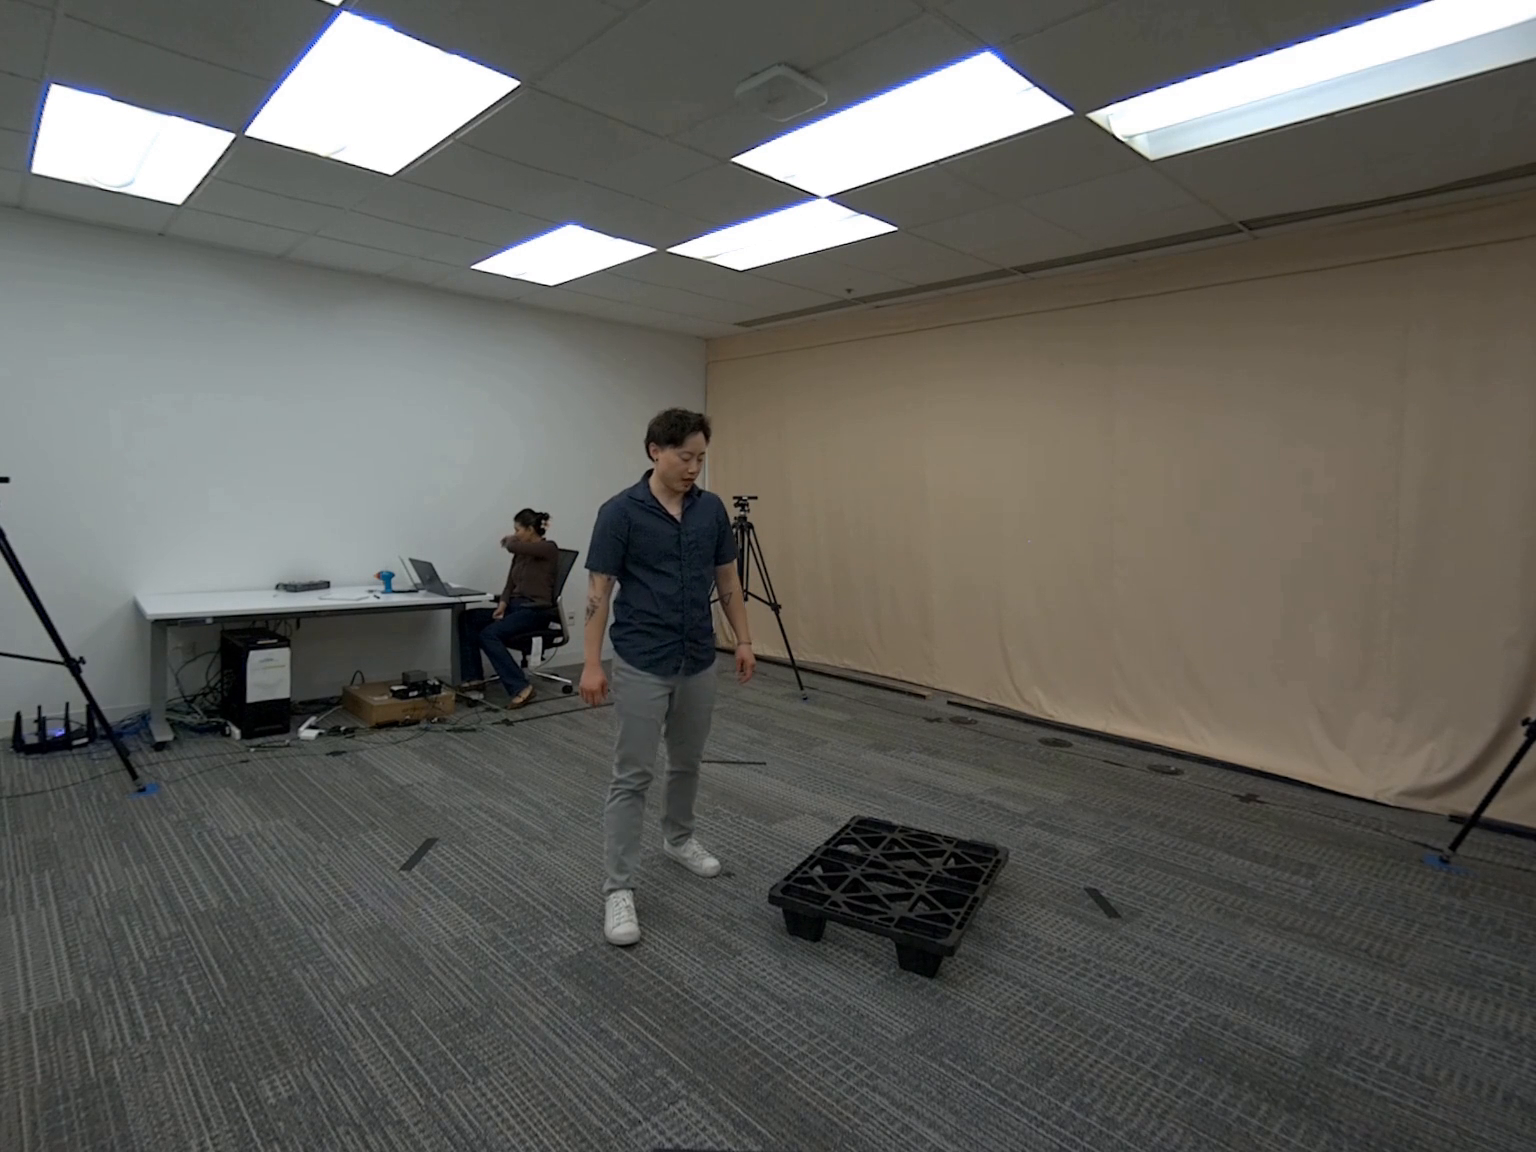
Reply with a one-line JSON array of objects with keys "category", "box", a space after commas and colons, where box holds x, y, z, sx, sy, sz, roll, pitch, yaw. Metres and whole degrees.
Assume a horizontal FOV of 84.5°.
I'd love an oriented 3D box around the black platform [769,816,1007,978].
[{"category": "black platform", "box": [0.425, 1.067, 2.883, 0.618, 0.143, 0.791, 4, 5, 28]}]
